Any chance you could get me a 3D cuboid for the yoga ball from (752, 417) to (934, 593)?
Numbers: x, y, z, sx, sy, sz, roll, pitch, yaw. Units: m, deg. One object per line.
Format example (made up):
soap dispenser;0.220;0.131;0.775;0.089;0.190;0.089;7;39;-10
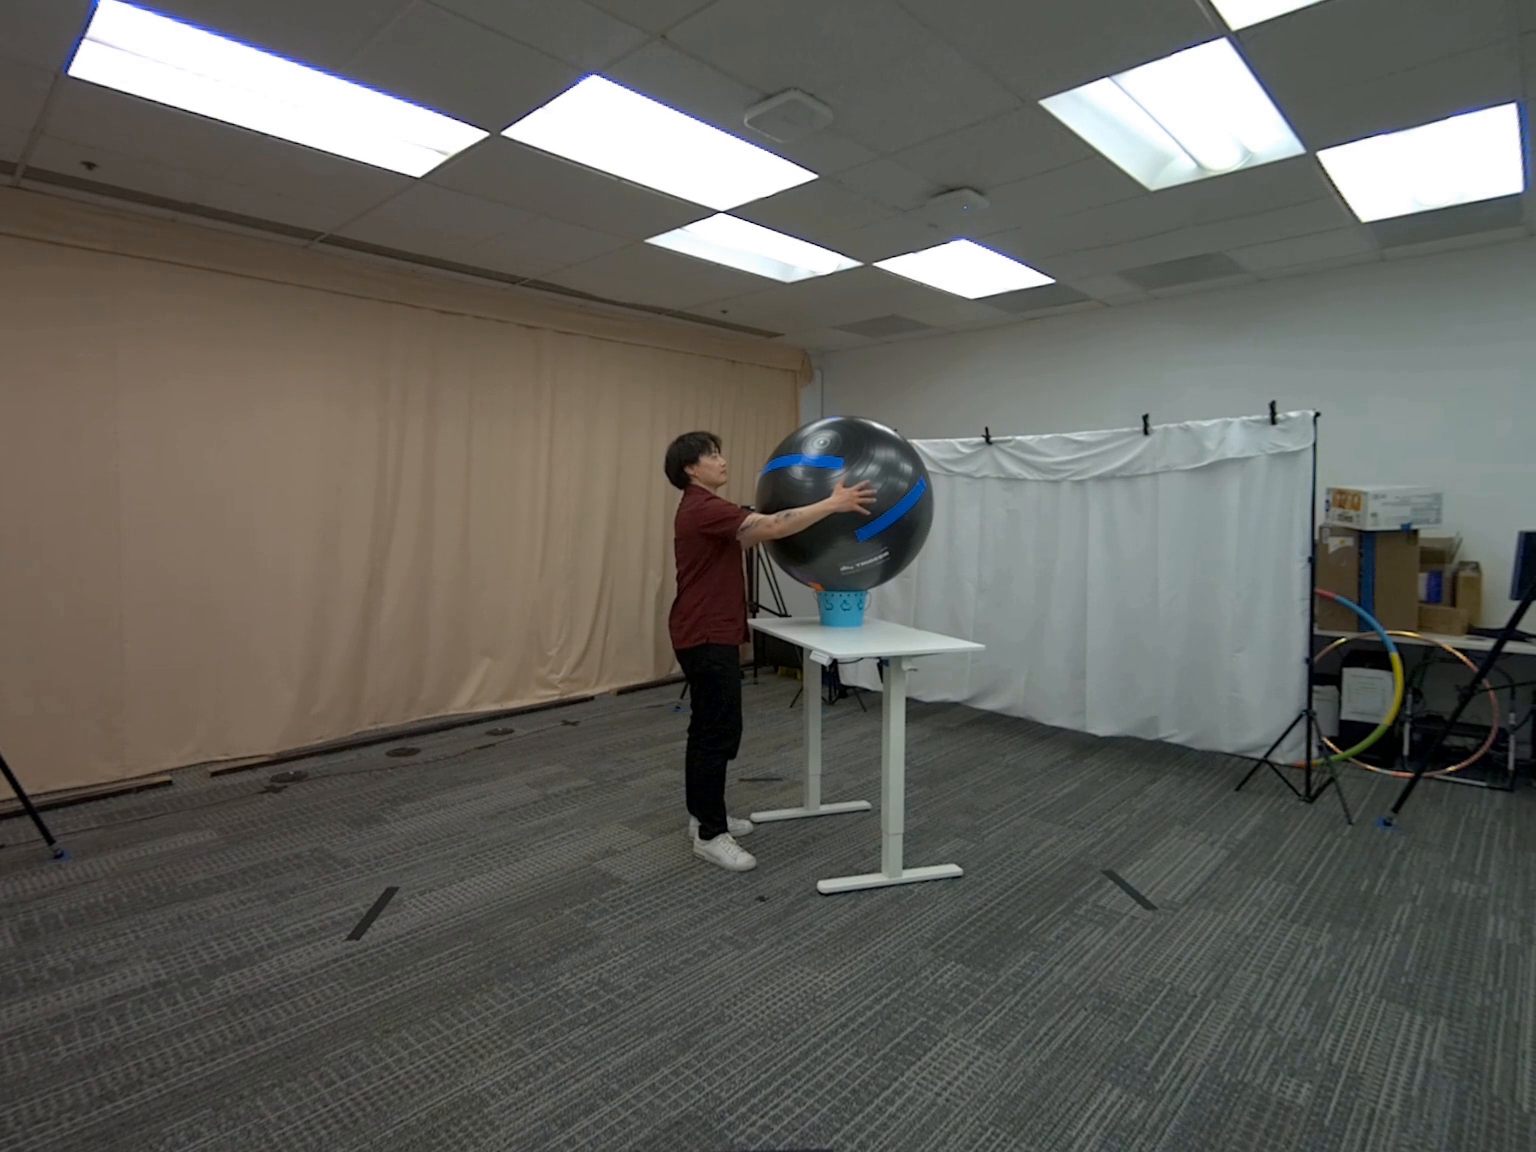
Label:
yoga ball;0.332;-0.299;3.628;0.757;0.756;0.760;0;4;-2
